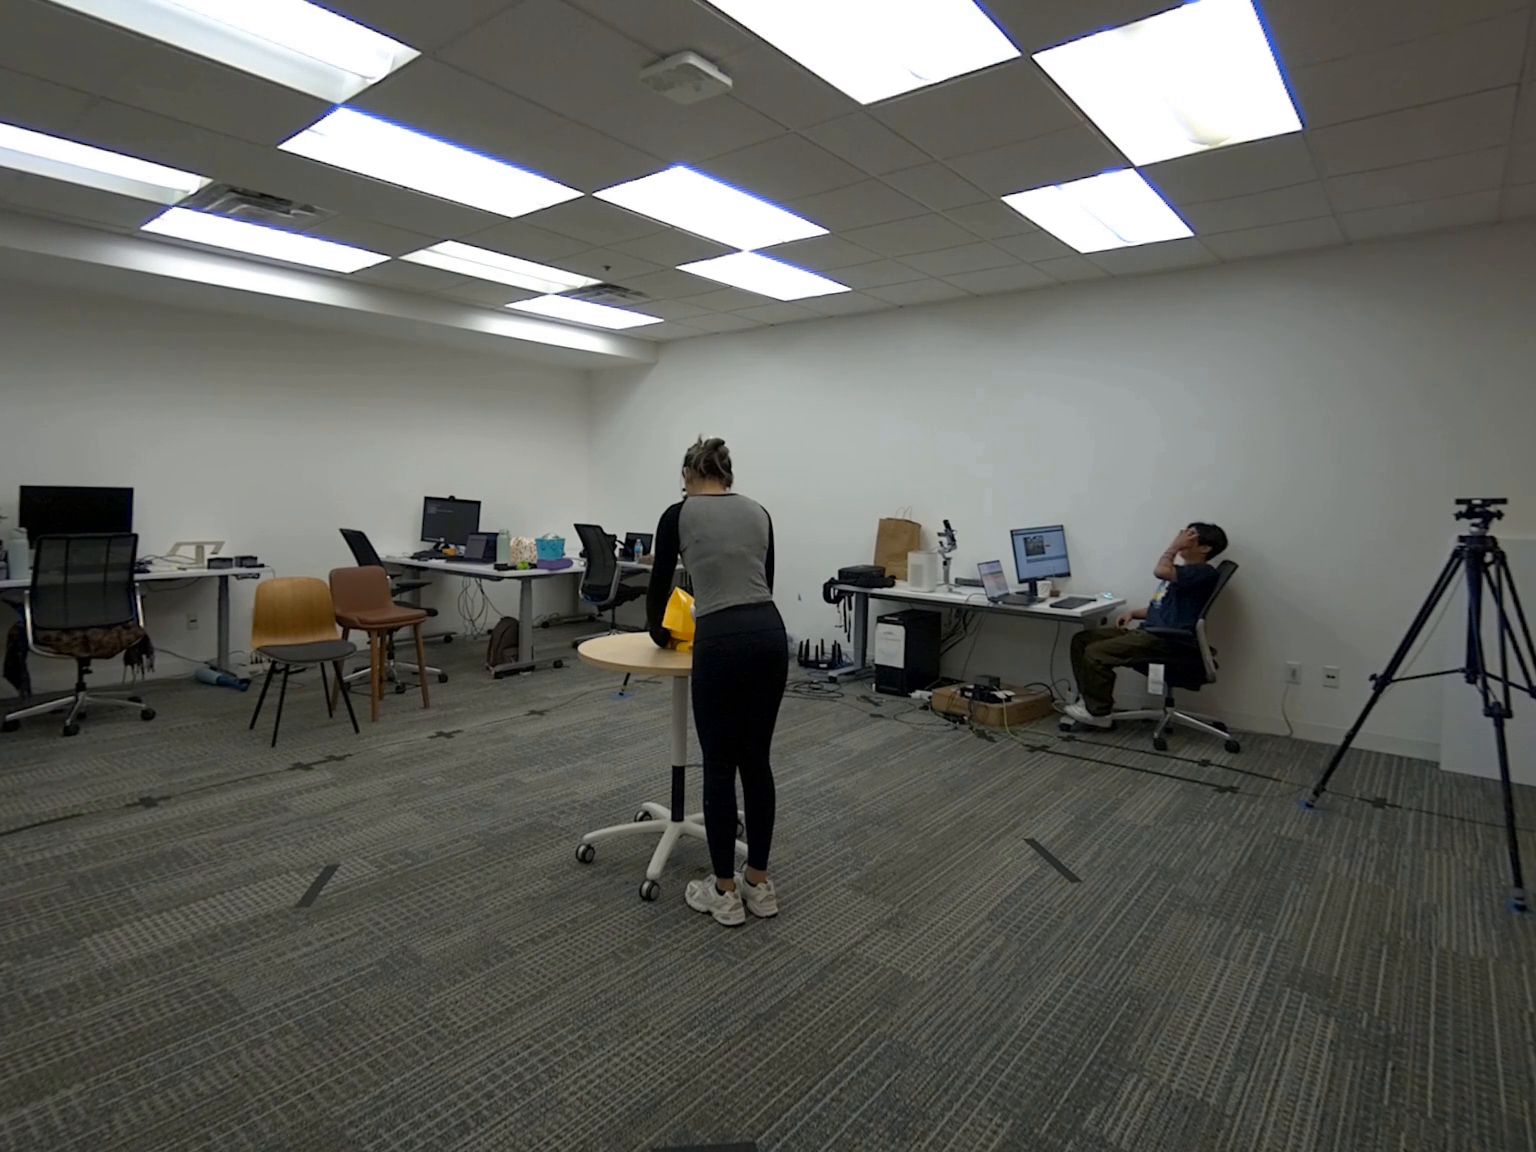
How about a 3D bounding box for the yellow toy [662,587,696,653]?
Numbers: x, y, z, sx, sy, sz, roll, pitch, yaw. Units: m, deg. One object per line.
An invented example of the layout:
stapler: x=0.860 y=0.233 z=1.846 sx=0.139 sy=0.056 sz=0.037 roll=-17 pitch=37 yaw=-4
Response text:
yellow toy: x=-0.306 y=0.150 z=3.183 sx=0.187 sy=0.230 sz=0.211 roll=-2 pitch=5 yaw=-34
